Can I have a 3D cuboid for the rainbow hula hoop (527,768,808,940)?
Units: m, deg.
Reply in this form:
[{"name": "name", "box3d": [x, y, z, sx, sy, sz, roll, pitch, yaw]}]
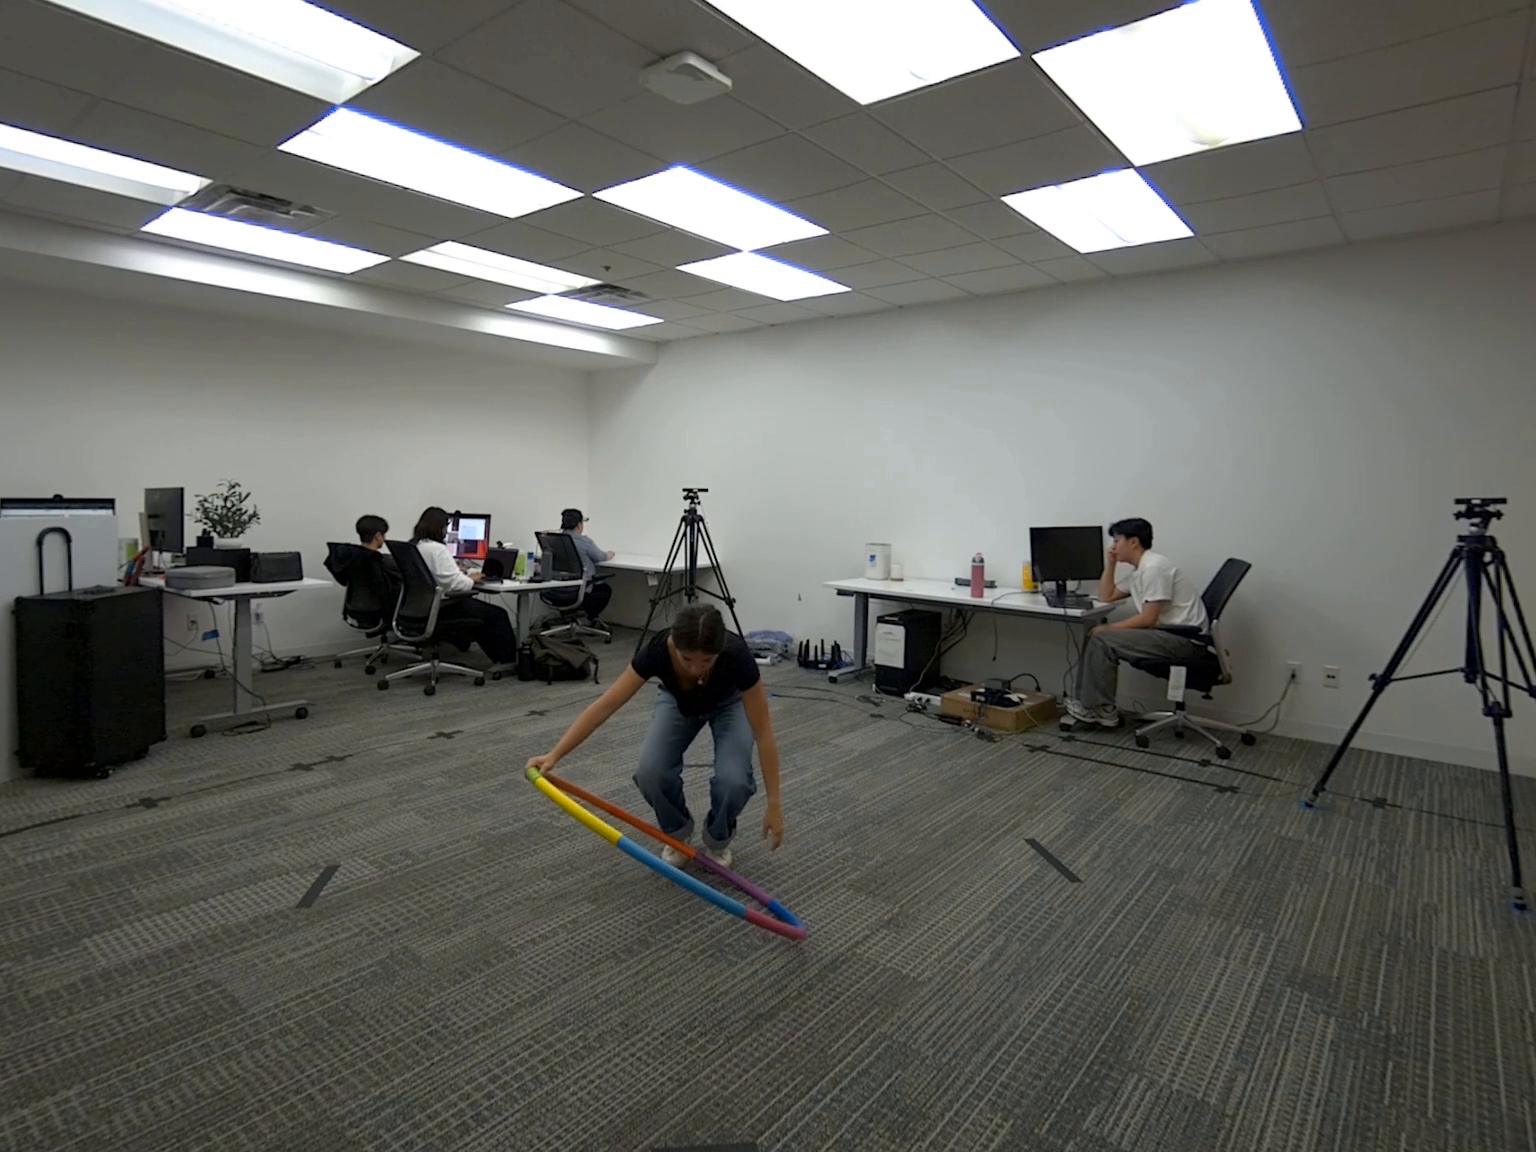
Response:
[{"name": "rainbow hula hoop", "box3d": [-0.327, 0.832, 2.635, 0.989, 0.036, 0.965, 28, -14, 6]}]
